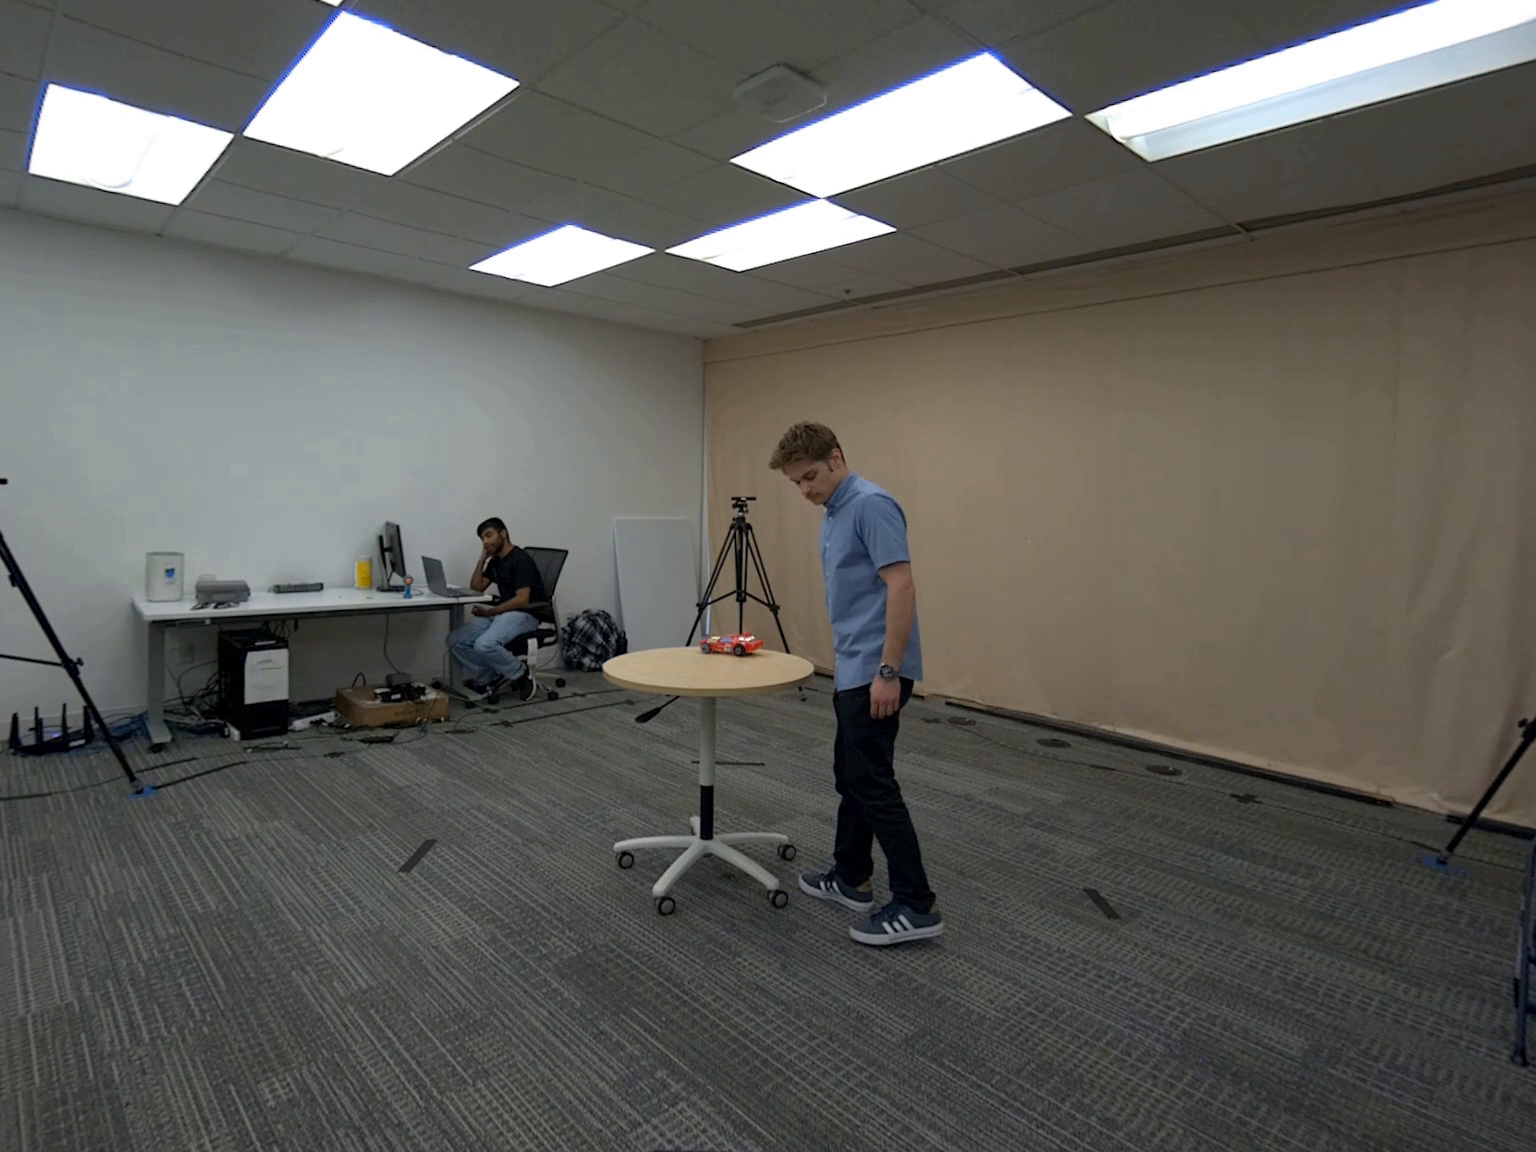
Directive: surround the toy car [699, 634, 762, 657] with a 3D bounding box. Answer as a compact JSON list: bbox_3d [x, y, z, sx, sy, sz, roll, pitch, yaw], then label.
[{"bbox_3d":[-0.149,0.273,3.293,0.258,0.083,0.128,-8,-1,24],"label":"toy car"}]
